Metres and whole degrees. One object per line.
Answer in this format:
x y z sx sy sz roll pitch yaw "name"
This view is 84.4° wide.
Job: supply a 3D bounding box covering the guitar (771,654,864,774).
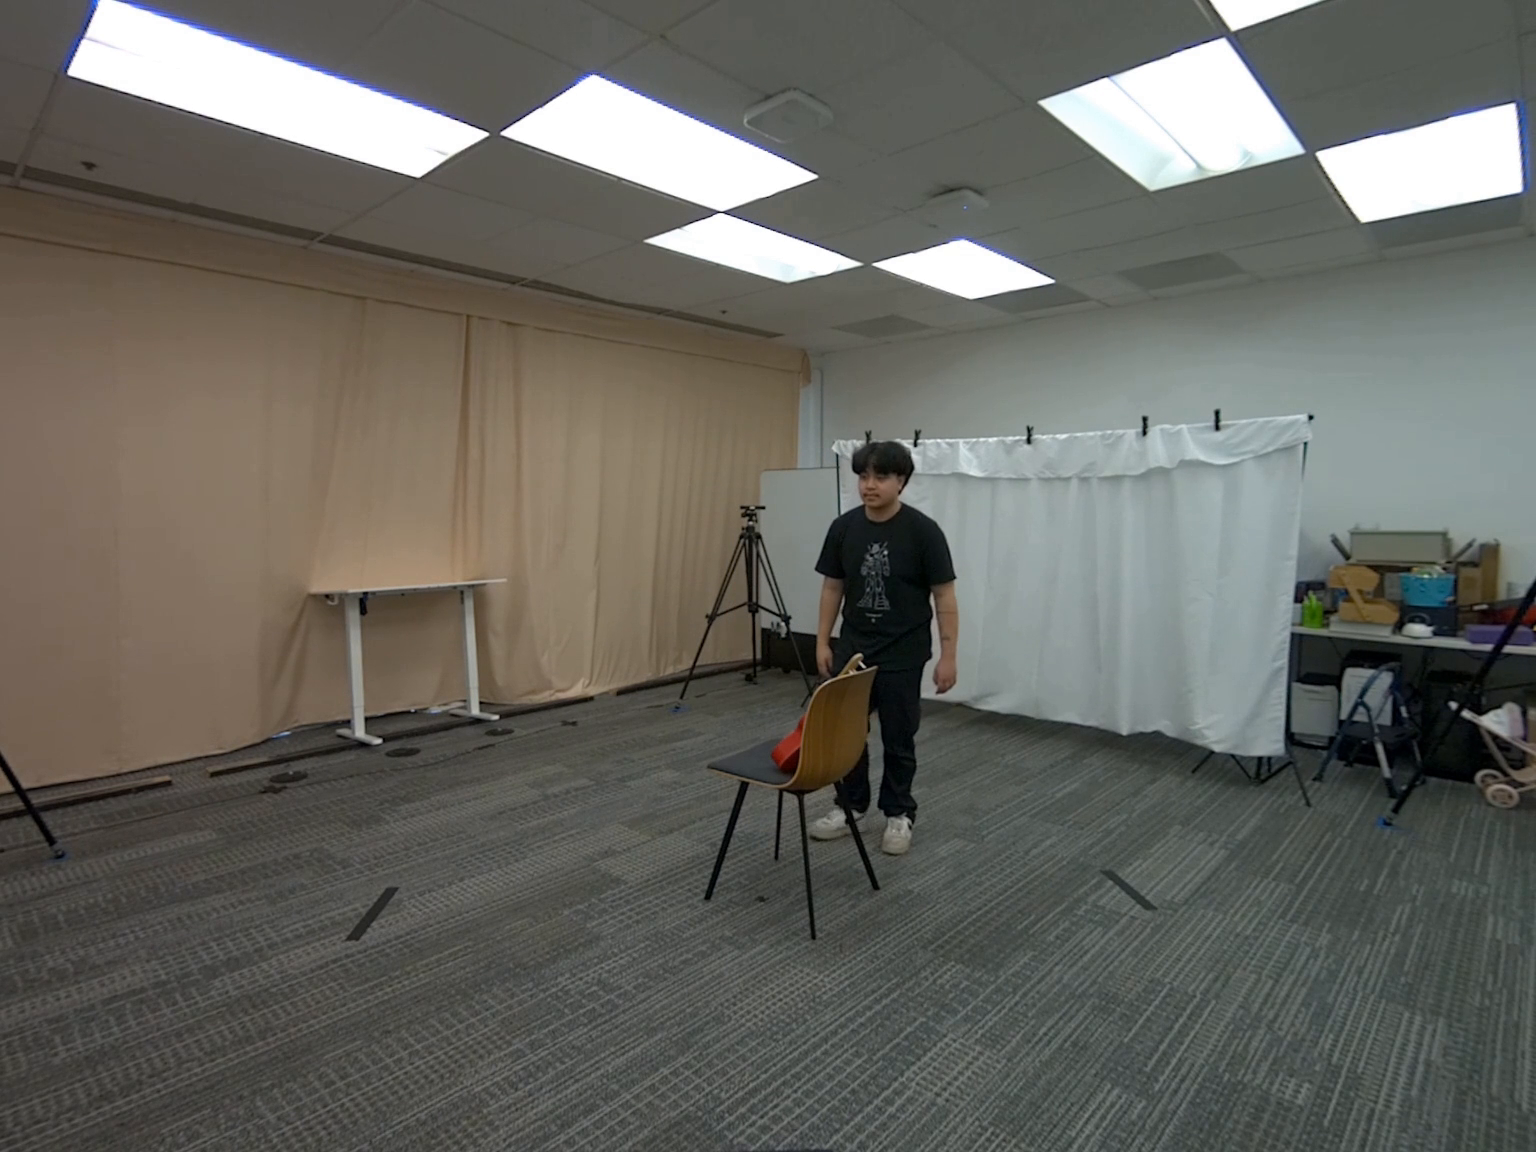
0.172 0.469 2.845 0.187 0.497 0.073 -9 46 -46 "guitar"
